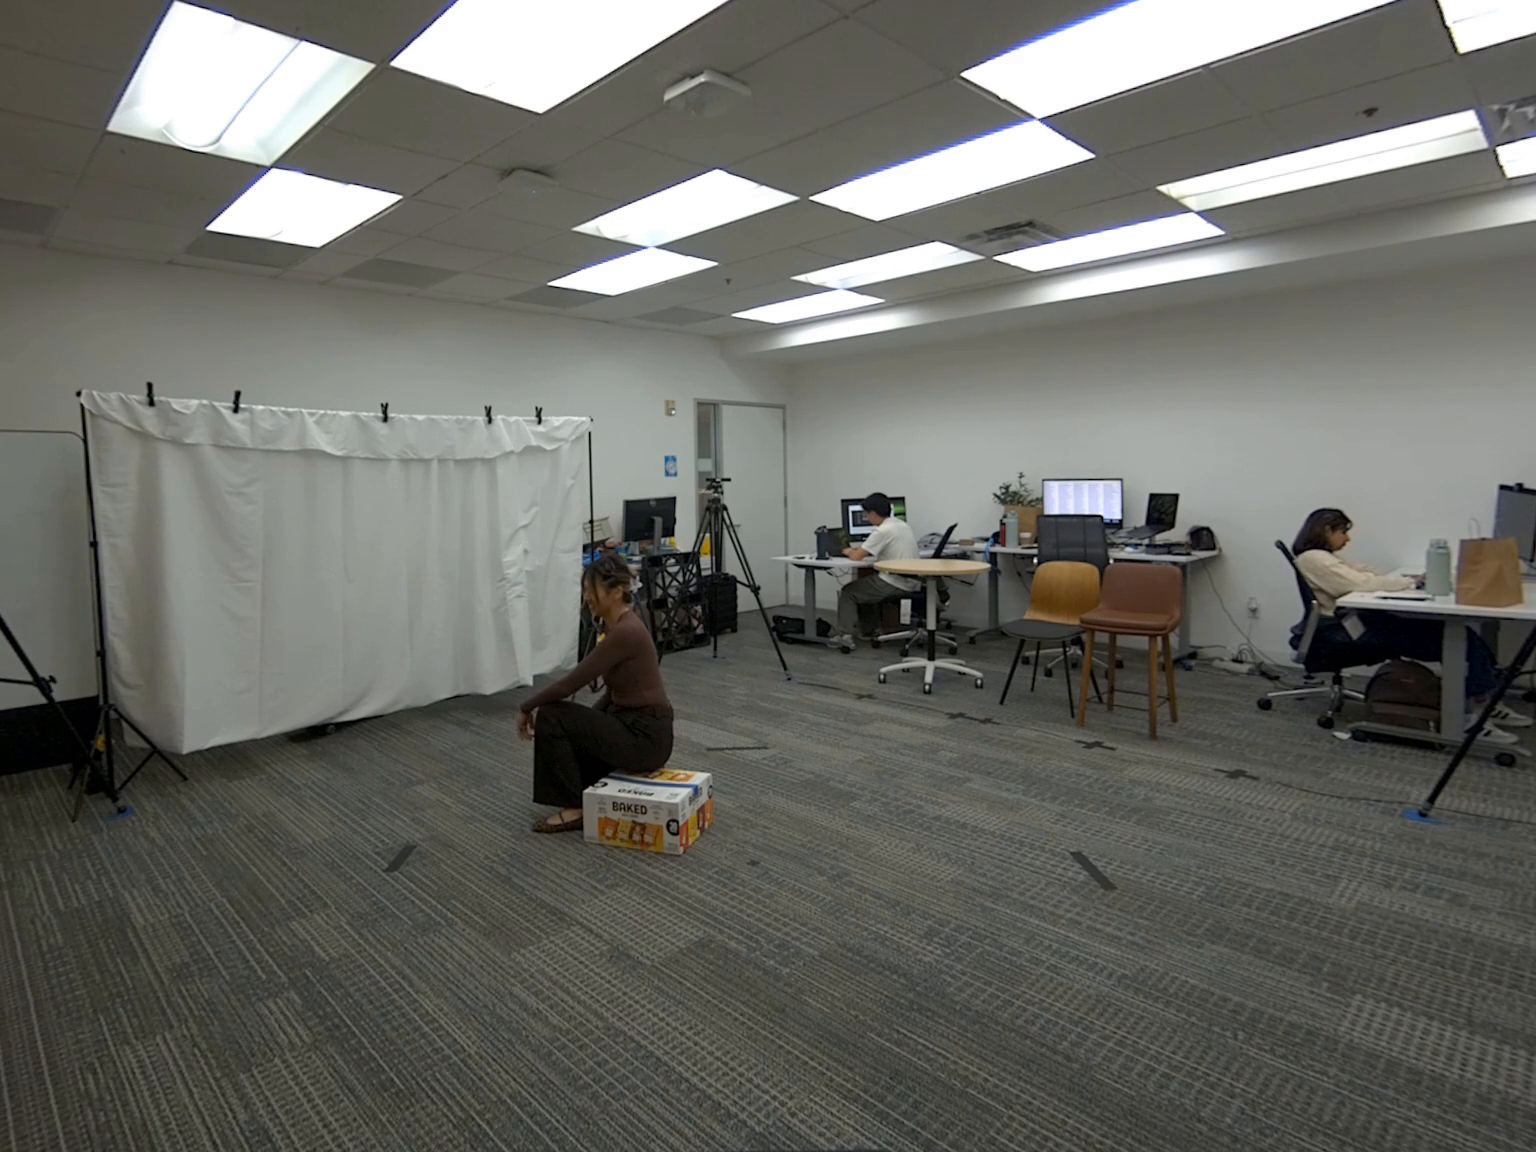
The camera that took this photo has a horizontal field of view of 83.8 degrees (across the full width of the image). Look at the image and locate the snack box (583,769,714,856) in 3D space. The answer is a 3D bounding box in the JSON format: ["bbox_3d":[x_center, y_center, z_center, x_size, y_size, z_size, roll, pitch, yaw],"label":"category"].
[{"bbox_3d":[-0.469,0.918,3.387,0.413,0.205,0.335,1,5,20],"label":"snack box"}]
